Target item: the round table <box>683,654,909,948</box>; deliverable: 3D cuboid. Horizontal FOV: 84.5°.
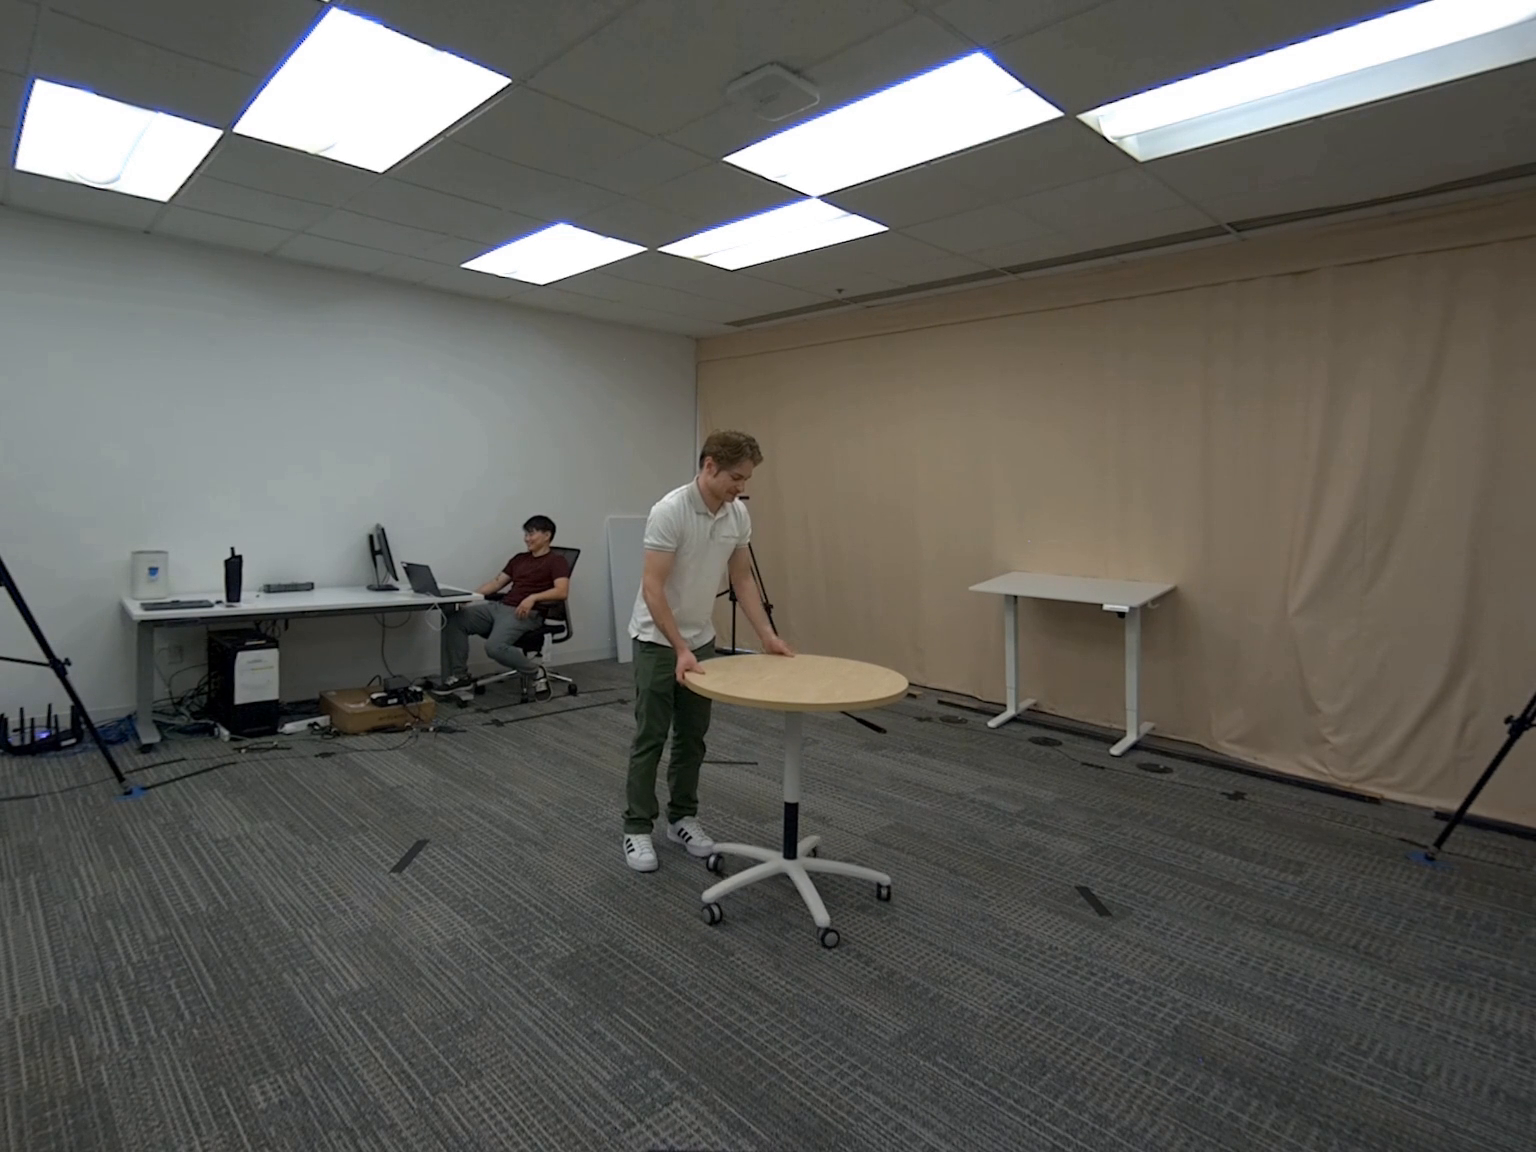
[{"bbox_3d":[0.074,0.735,2.921,0.763,0.791,0.767,1,5,-1],"label":"round table"}]
